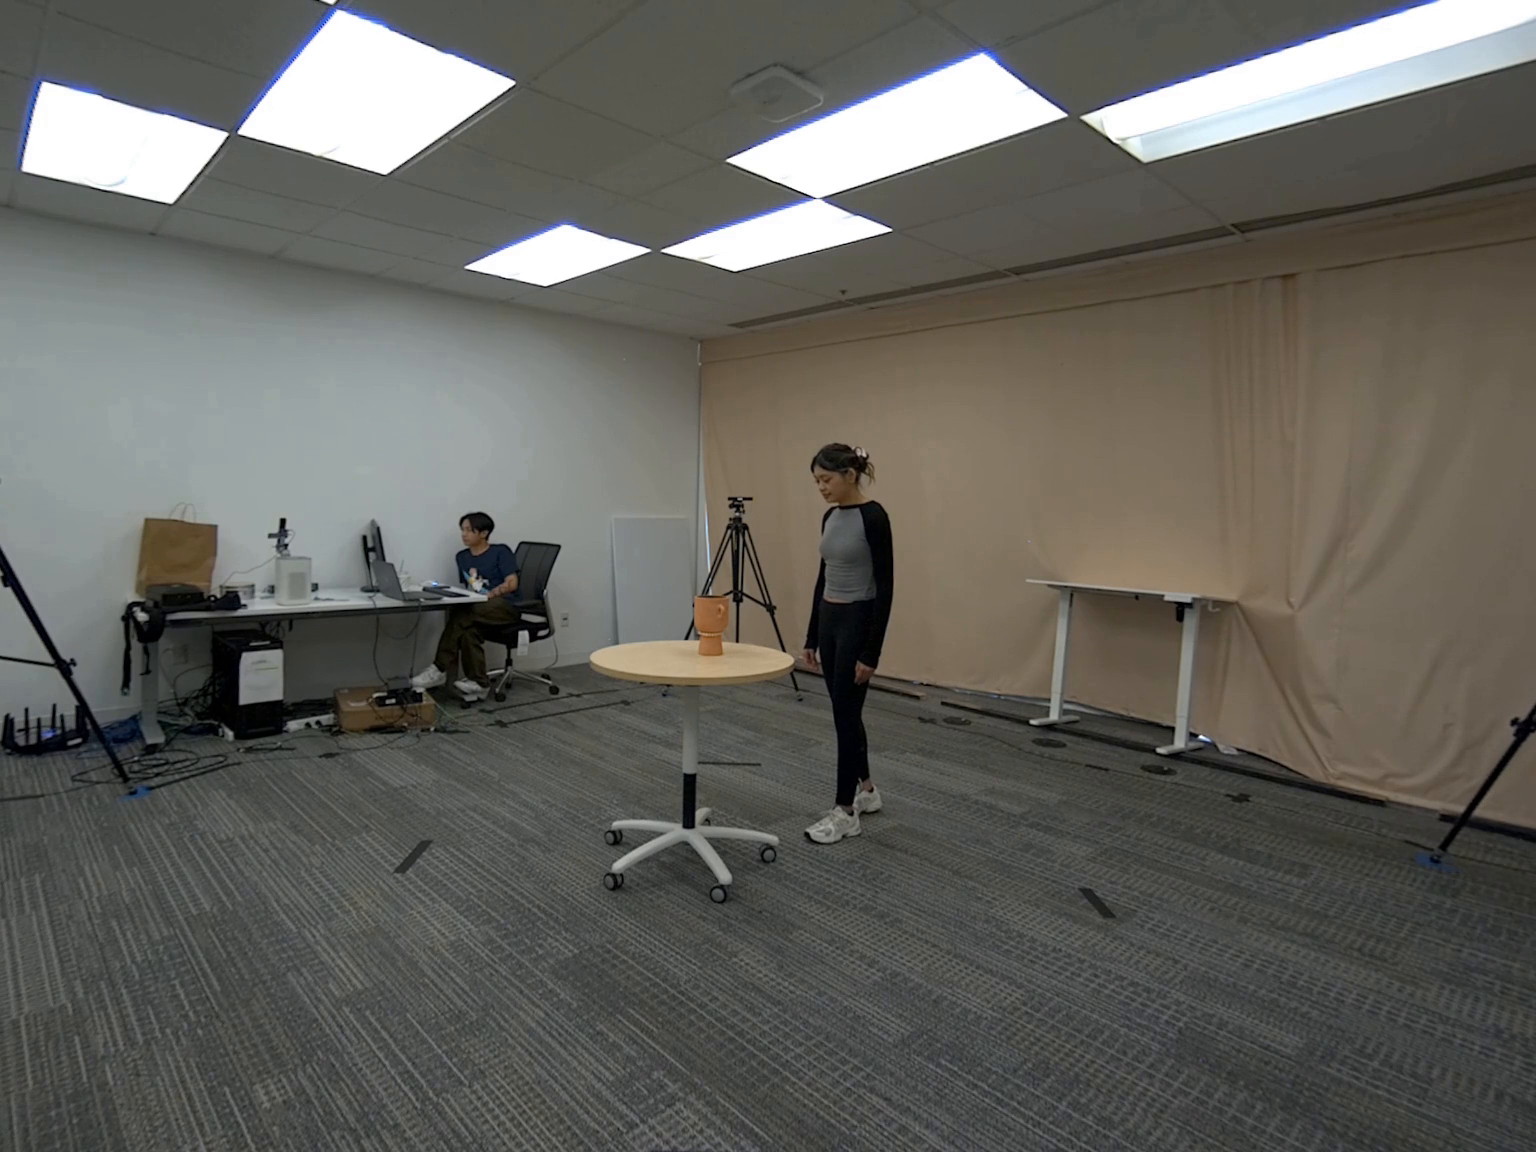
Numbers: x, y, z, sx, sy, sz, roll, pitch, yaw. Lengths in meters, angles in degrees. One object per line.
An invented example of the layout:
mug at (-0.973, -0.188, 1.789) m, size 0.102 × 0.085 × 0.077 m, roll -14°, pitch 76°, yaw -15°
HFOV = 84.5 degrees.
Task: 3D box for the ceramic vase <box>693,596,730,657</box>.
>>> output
ceramic vase at (-0.232, 0.192, 3.243) m, size 0.136 × 0.219 × 0.158 m, roll 2°, pitch 4°, yaw 8°
